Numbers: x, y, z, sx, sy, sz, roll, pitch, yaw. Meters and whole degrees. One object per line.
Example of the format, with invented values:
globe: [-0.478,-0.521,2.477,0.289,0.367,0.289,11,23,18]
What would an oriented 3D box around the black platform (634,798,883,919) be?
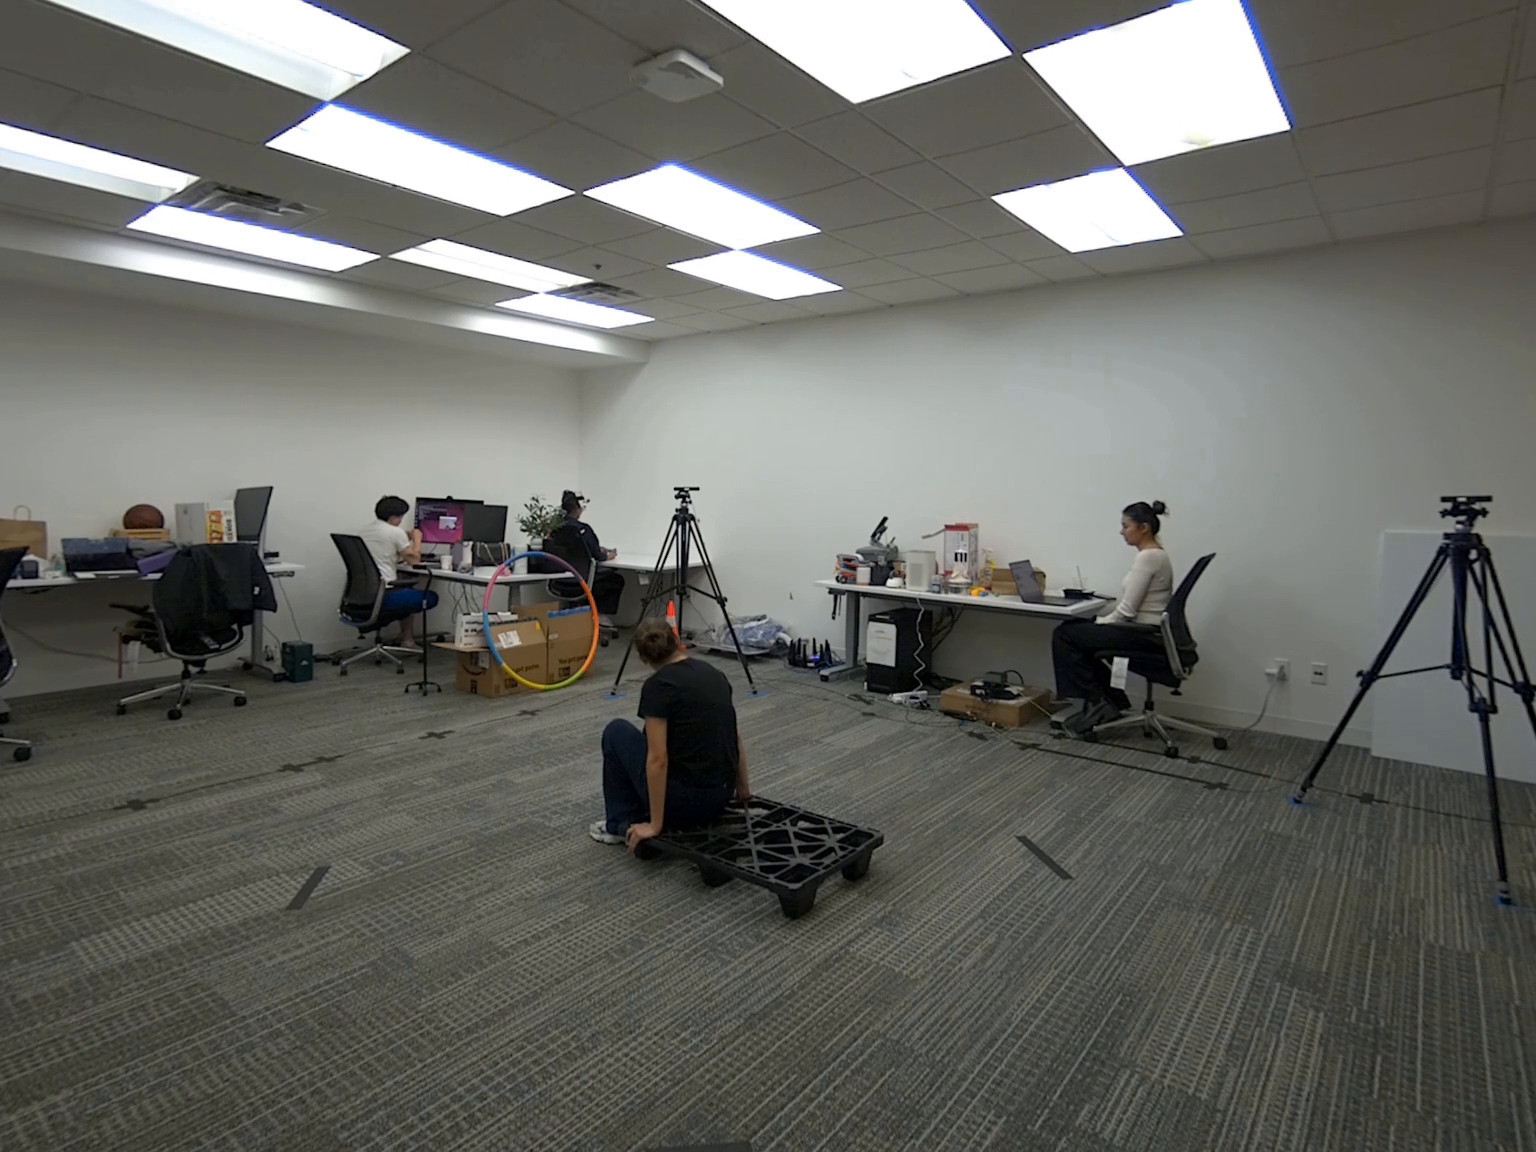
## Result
black platform: [-0.047,1.000,3.159,0.832,0.143,0.587,5,6,38]
